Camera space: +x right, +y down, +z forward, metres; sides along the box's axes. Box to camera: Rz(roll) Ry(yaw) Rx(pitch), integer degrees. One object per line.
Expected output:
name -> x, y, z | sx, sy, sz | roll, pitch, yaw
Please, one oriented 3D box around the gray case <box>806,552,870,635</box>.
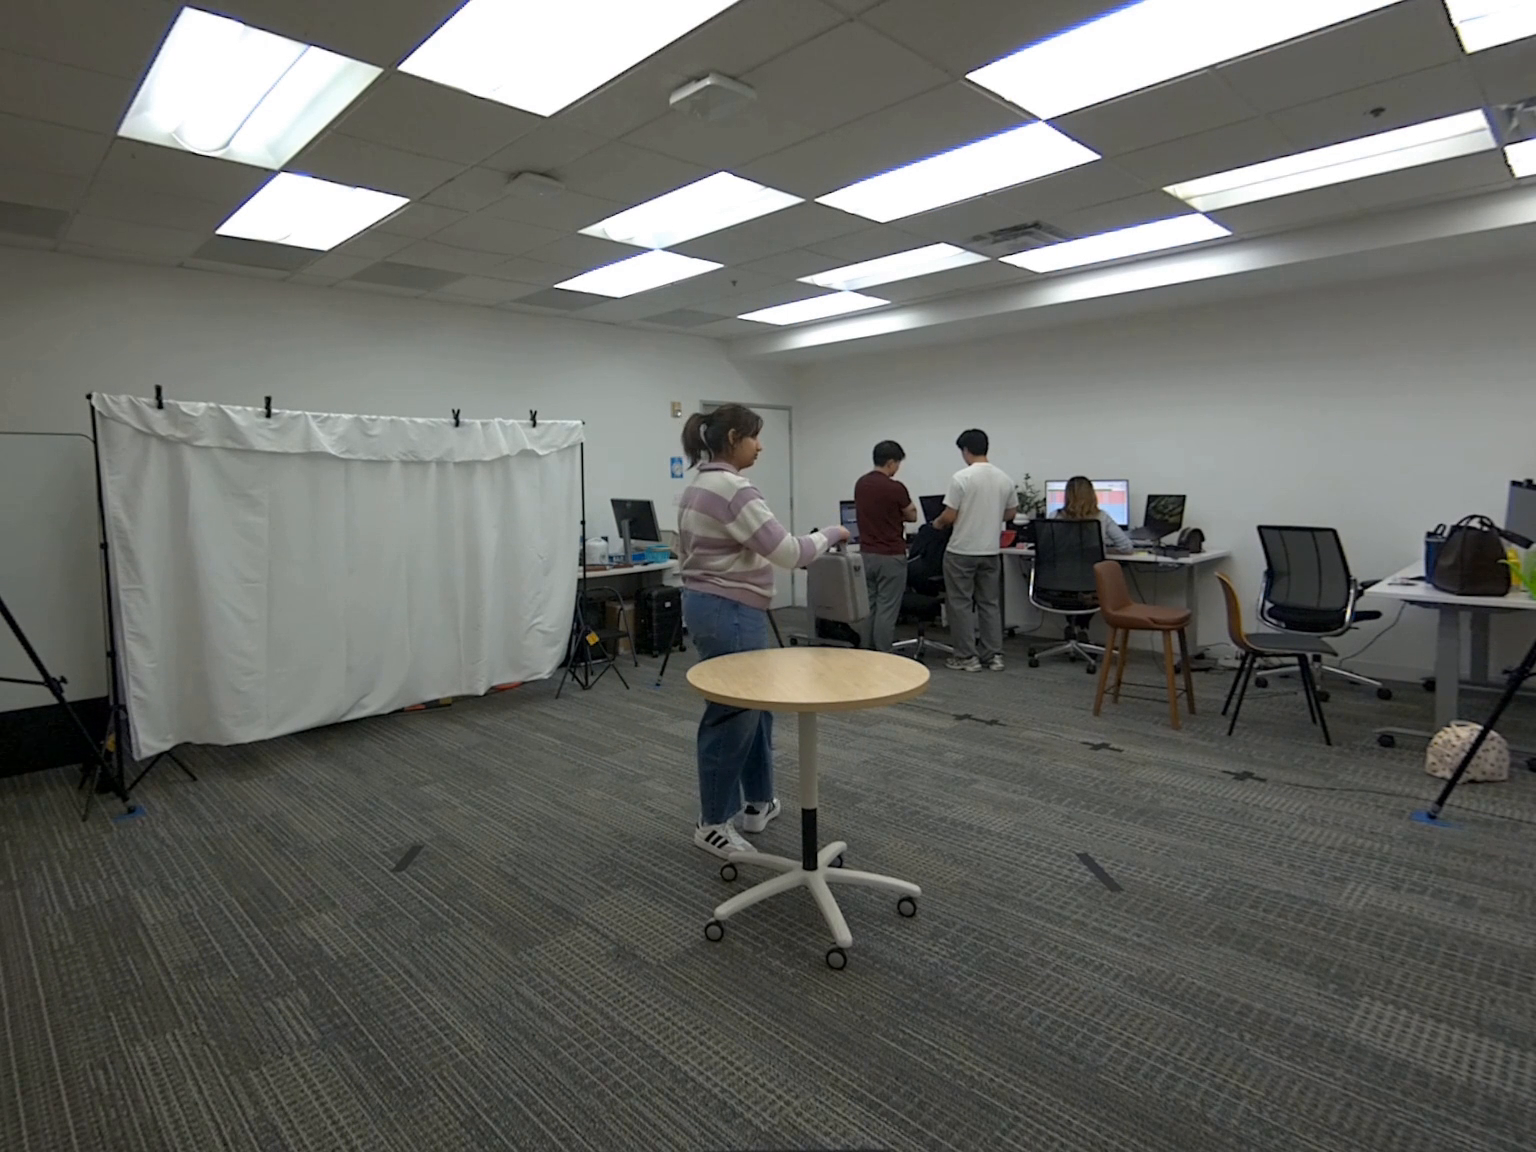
gray case -> 0.255, 0.035, 3.199 | 0.102, 0.259, 0.263 | -8, 6, -28
